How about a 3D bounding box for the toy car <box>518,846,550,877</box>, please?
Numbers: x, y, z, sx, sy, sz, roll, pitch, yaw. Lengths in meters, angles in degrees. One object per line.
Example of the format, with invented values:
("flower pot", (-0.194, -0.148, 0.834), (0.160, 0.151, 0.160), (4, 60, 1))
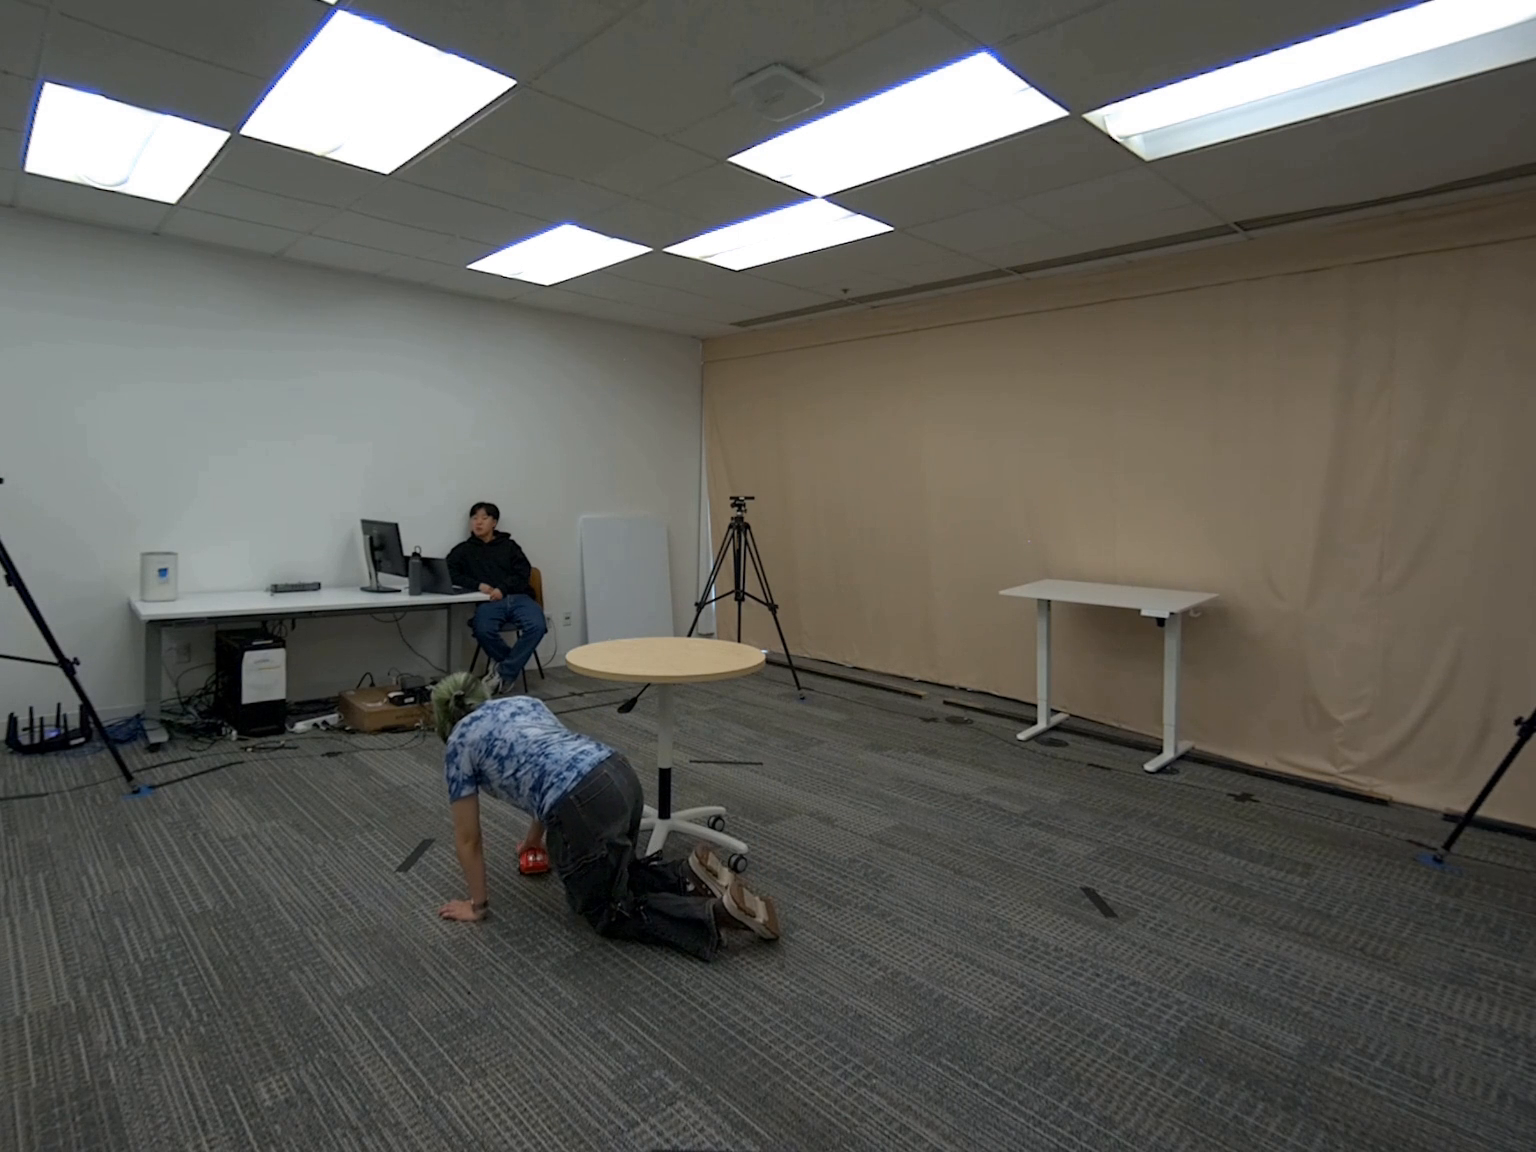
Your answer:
("toy car", (-0.883, 1.058, 3.135), (0.128, 0.084, 0.256), (0, -7, -19))
